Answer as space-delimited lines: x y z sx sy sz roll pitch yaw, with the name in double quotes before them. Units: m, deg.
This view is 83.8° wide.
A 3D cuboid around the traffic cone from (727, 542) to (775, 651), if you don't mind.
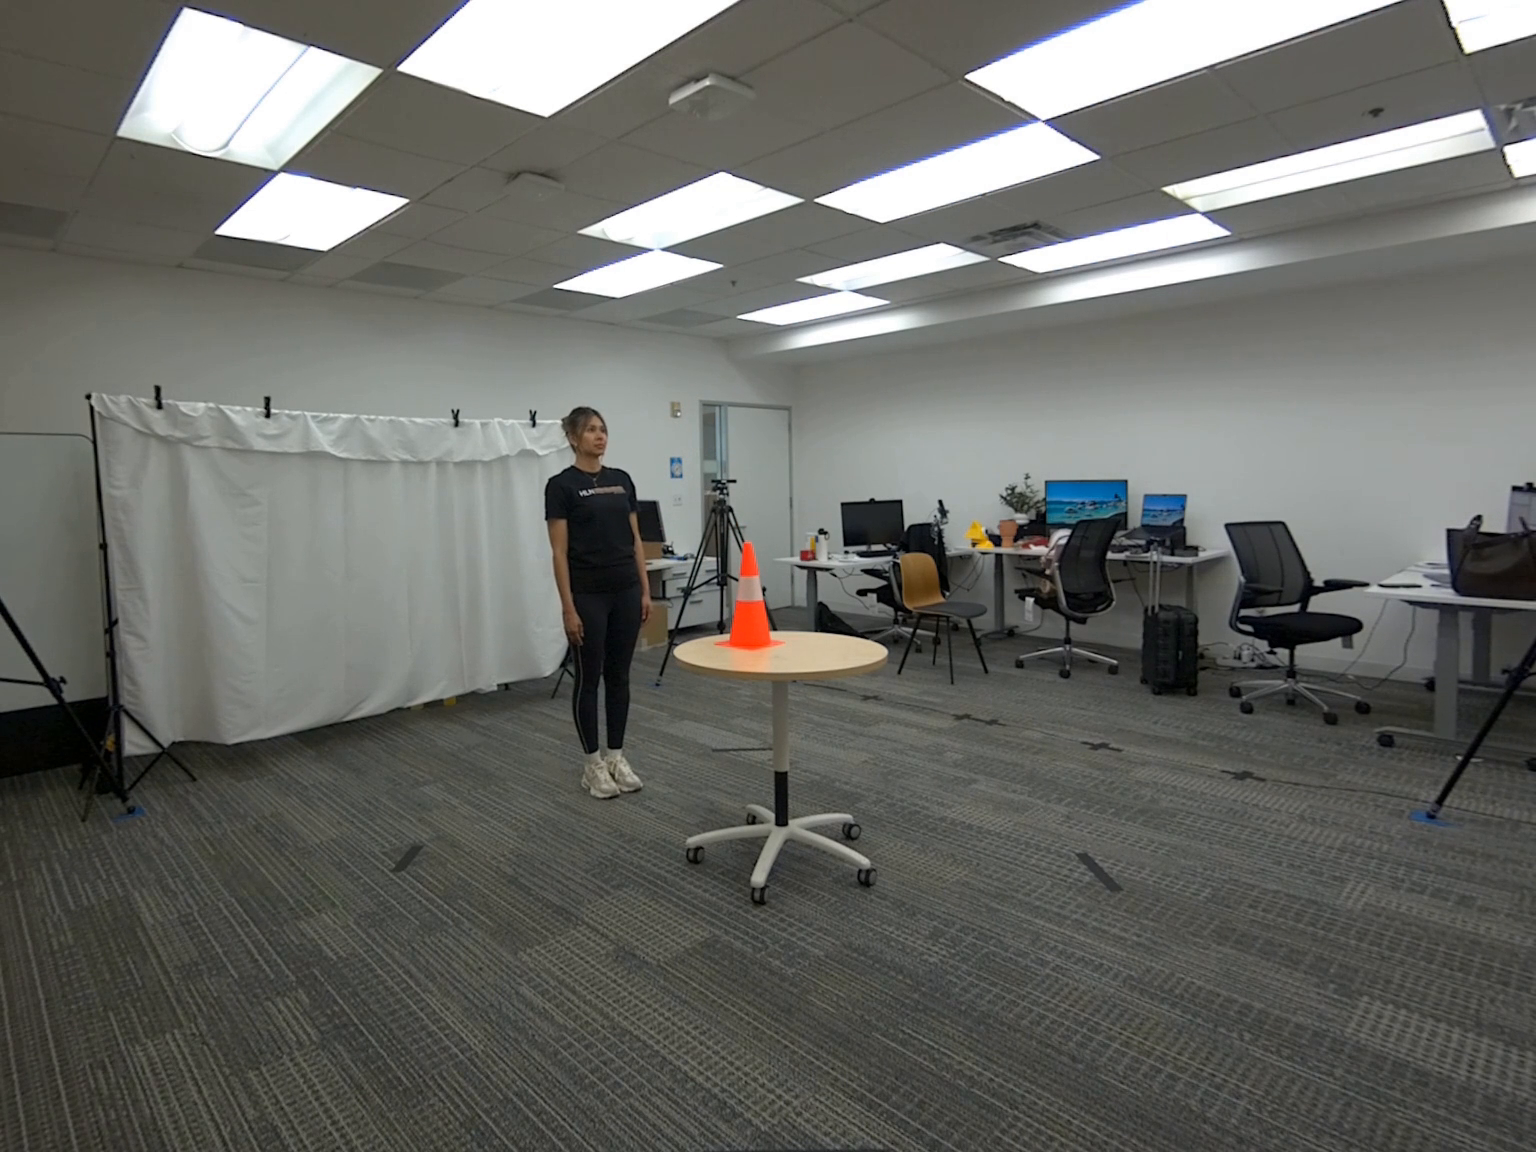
"traffic cone" -0.071 0.068 3.196 0.211 0.383 0.198 0 2 35
